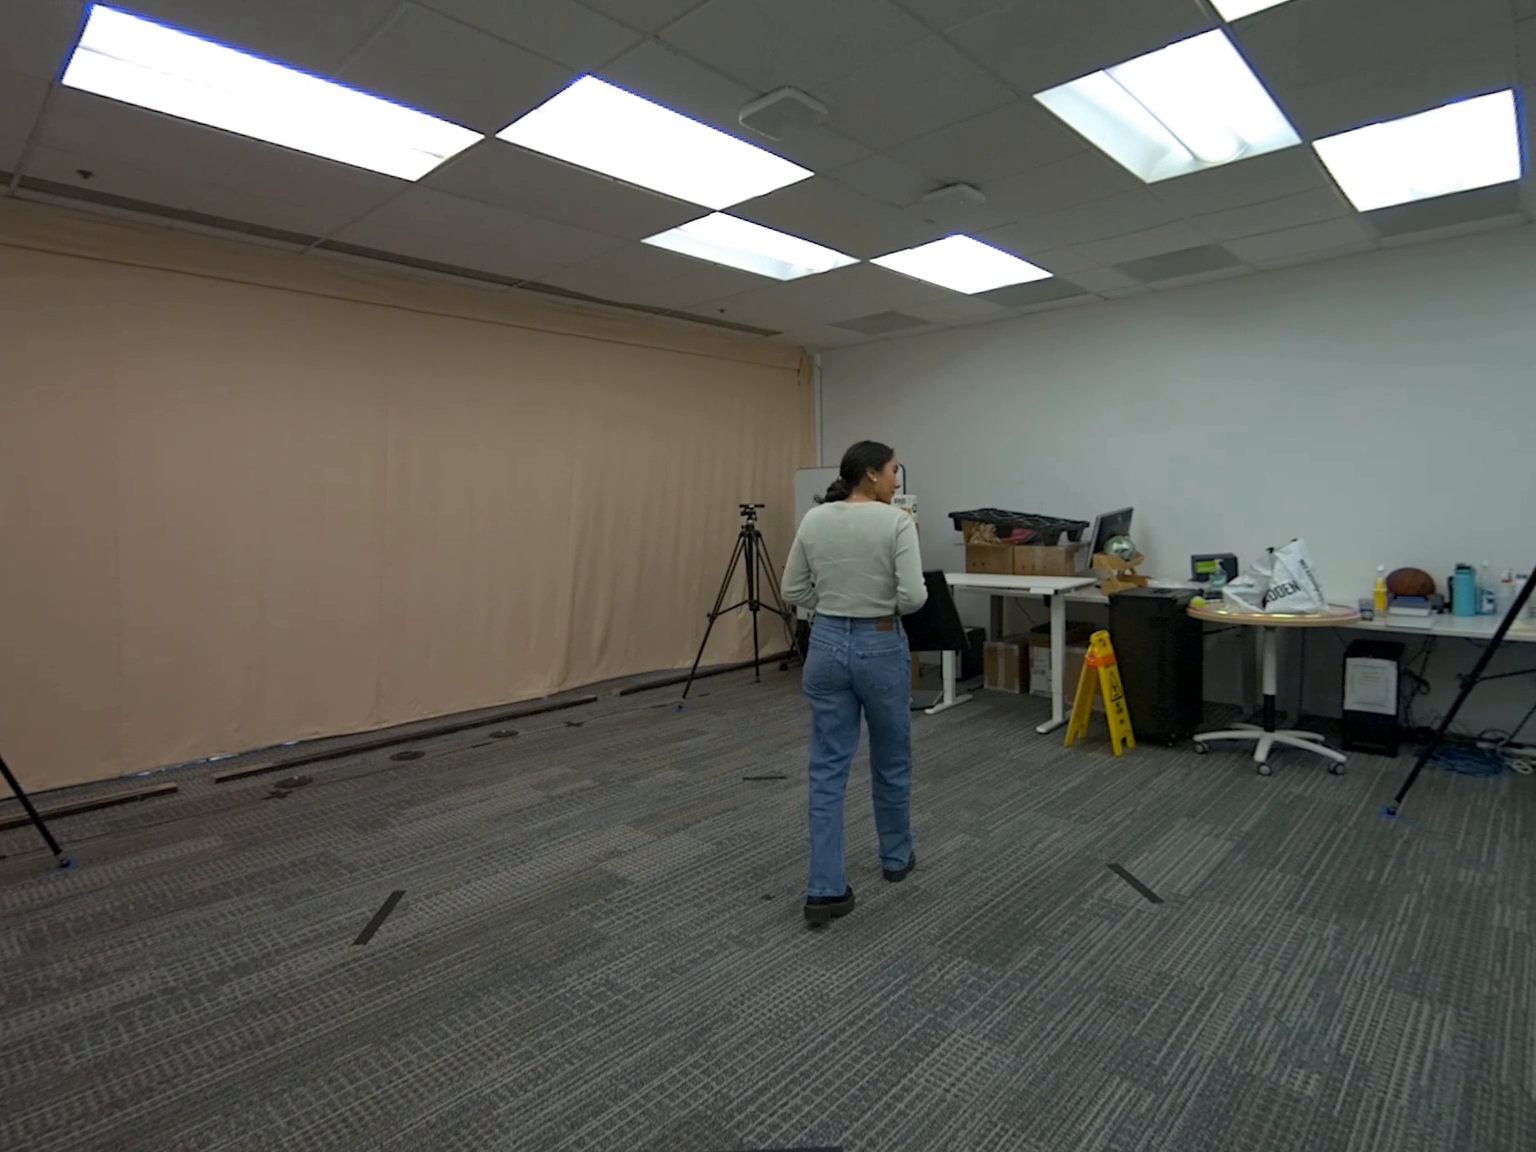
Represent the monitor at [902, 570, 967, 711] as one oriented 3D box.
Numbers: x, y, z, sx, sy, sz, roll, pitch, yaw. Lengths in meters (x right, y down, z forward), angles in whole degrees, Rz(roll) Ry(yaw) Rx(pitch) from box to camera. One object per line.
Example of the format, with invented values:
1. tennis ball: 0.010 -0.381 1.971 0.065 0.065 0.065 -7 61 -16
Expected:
1. monitor: 0.472 0.231 3.137 0.545 0.512 0.171 -6 10 34
